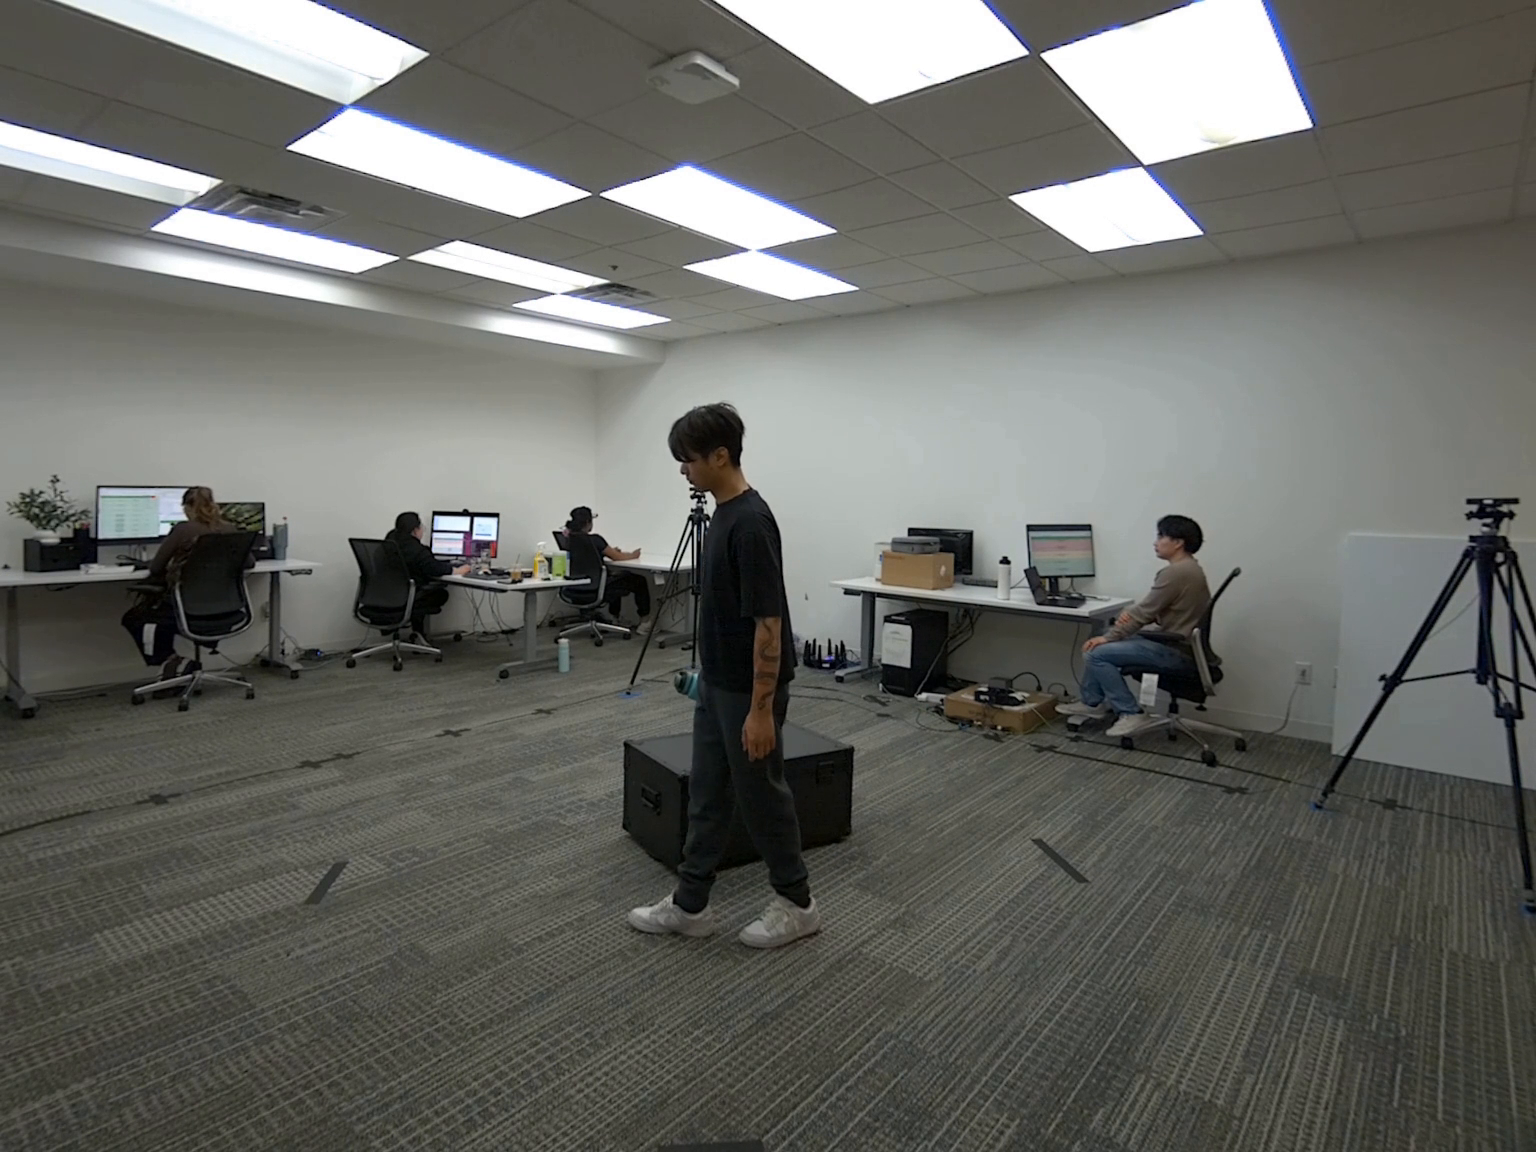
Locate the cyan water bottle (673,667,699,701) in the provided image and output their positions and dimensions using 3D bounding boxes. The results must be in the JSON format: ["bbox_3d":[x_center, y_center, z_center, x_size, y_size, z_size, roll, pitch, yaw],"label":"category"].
[{"bbox_3d":[-0.195,0.394,2.892,0.282,0.092,0.093,20,2,-5],"label":"cyan water bottle"}]
